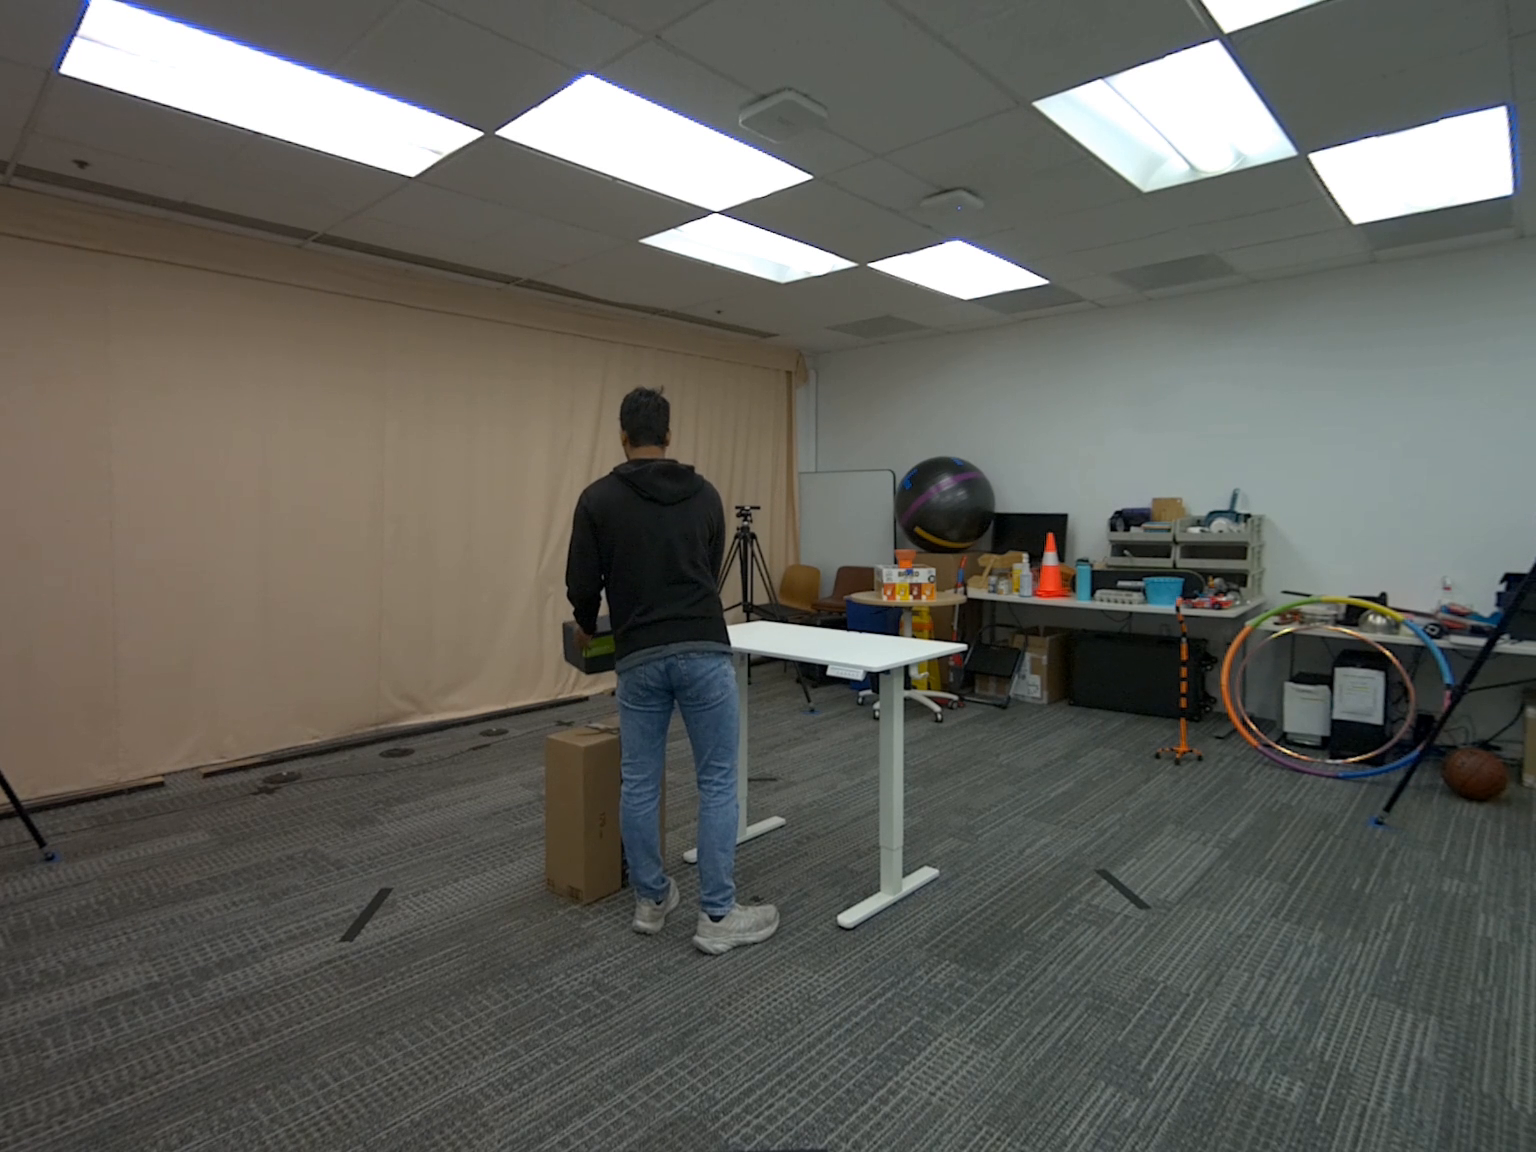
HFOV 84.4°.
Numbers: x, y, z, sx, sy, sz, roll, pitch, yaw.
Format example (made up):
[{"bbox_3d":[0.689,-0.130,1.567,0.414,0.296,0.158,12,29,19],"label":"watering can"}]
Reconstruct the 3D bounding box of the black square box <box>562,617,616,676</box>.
[{"bbox_3d":[-0.613,0.259,3.196,0.222,0.155,0.224,-8,13,-34],"label":"black square box"}]
